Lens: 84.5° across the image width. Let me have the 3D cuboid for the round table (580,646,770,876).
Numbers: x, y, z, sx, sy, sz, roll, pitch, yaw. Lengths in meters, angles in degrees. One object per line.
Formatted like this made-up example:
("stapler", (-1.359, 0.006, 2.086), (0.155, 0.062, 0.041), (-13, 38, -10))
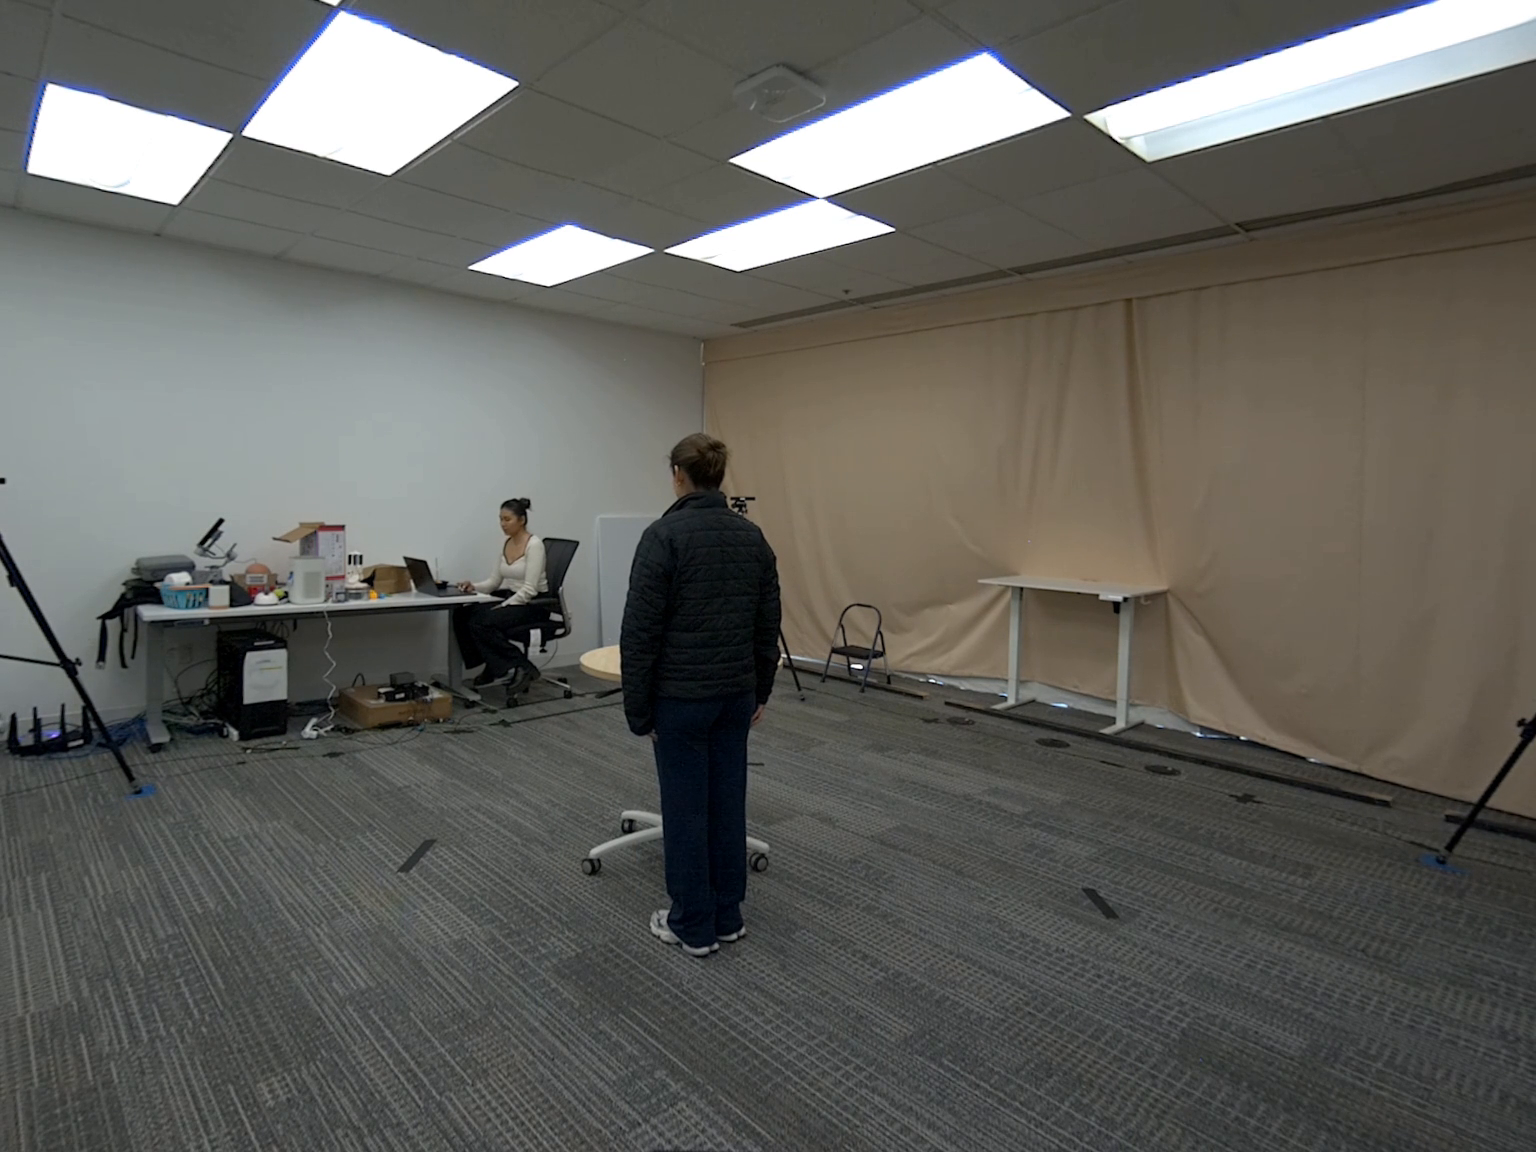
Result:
("round table", (-0.325, 0.703, 3.210), (0.784, 0.784, 0.788), (1, 4, -1))
